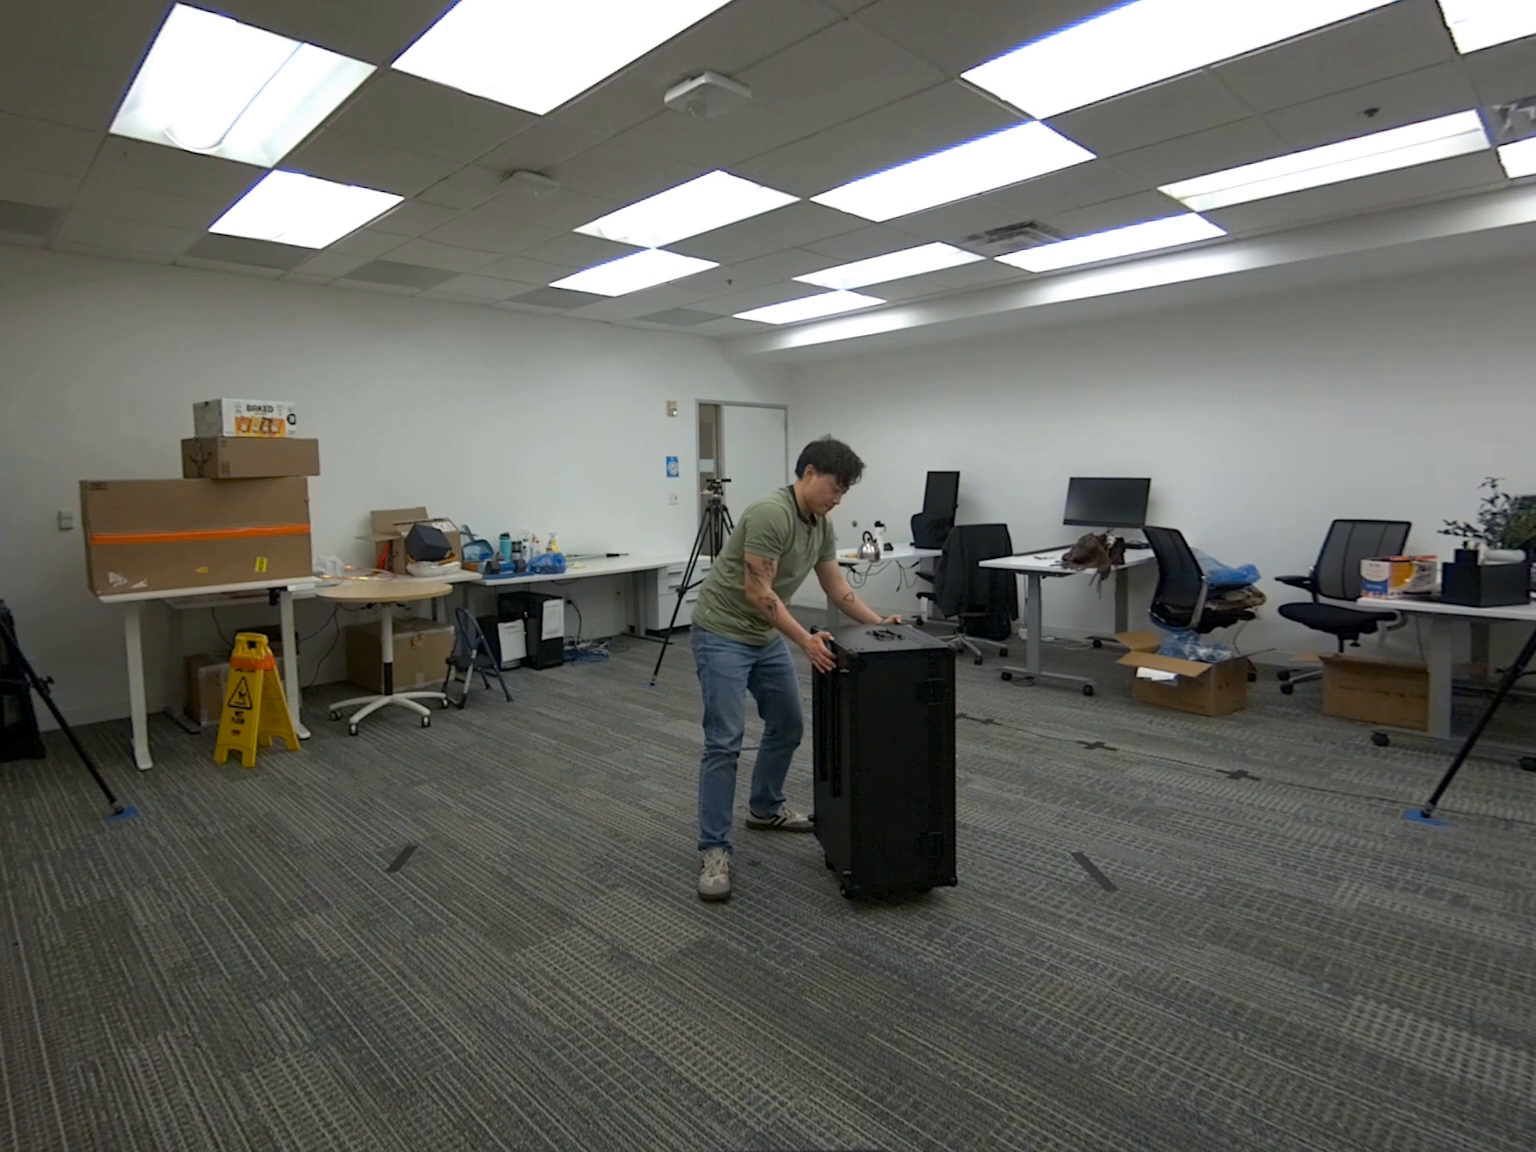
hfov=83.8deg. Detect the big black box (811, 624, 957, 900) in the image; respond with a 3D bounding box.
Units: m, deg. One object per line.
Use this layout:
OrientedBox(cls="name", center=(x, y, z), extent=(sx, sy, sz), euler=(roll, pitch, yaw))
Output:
OrientedBox(cls="big black box", center=(0.378, 0.573, 2.943), extent=(0.392, 0.858, 0.528), euler=(-2, 4, -11))
